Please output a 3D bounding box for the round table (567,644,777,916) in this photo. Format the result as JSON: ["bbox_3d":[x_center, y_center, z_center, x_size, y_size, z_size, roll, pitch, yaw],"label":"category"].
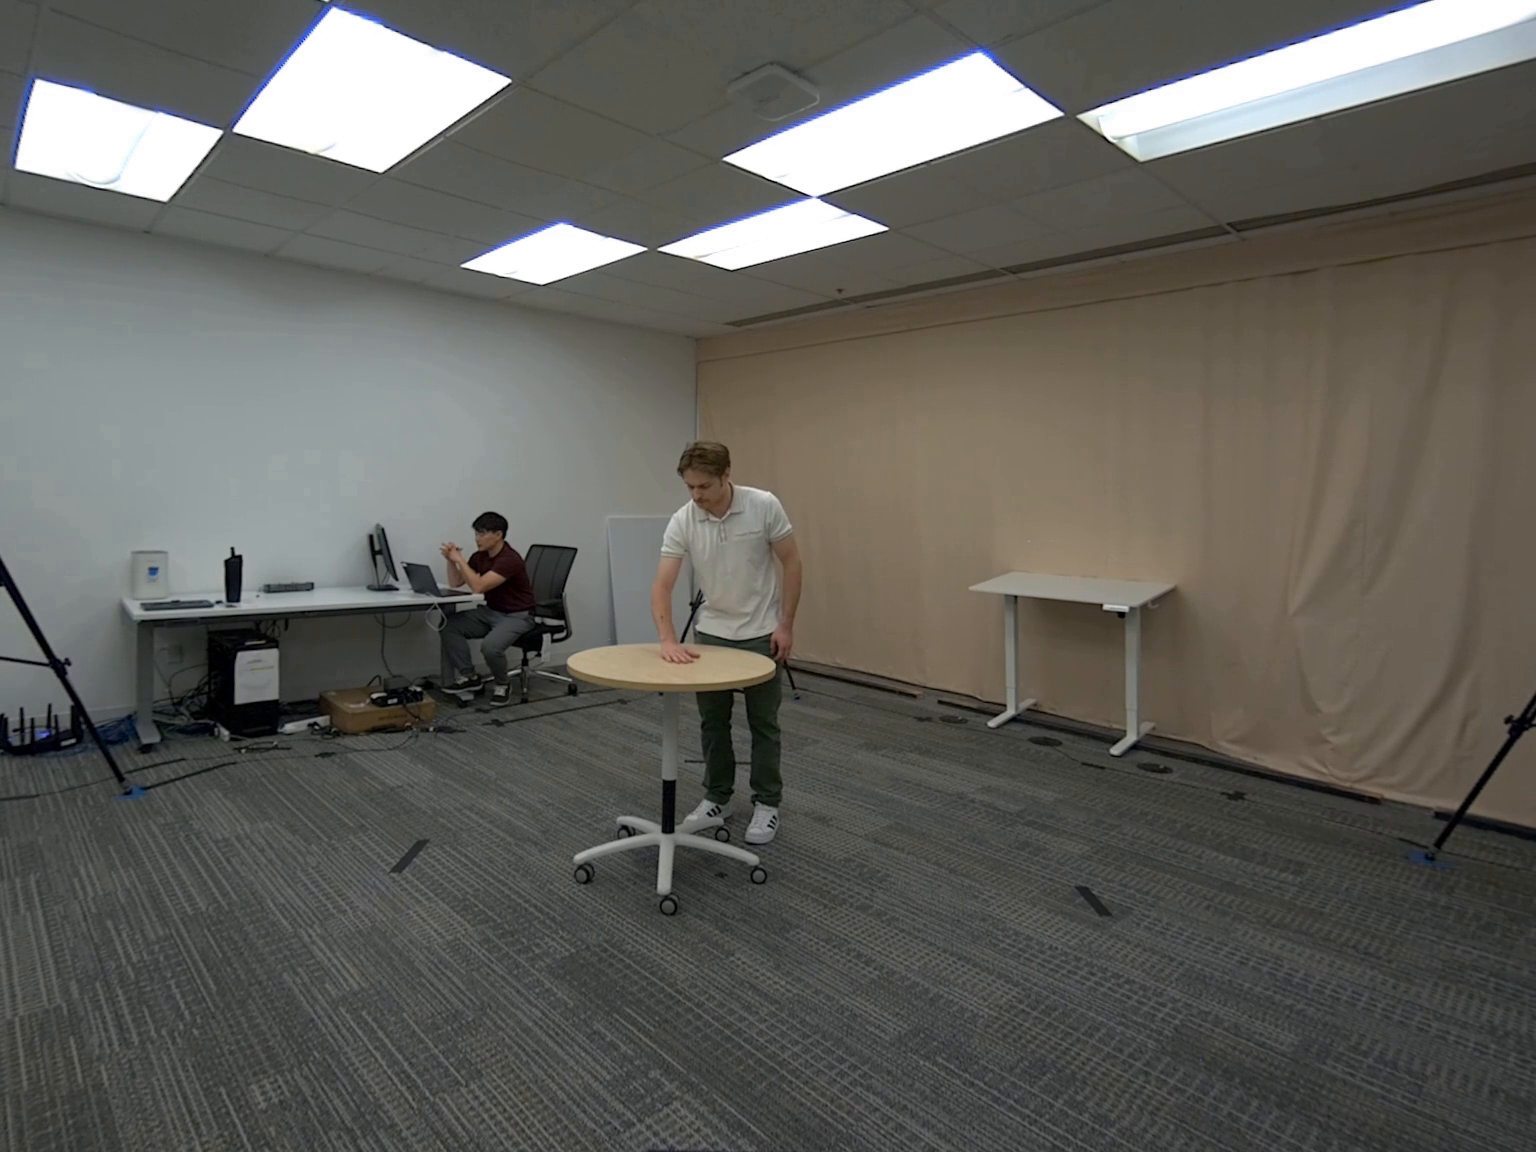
[{"bbox_3d":[-0.385,0.704,3.119,0.784,0.785,0.787,2,4,-1],"label":"round table"}]
